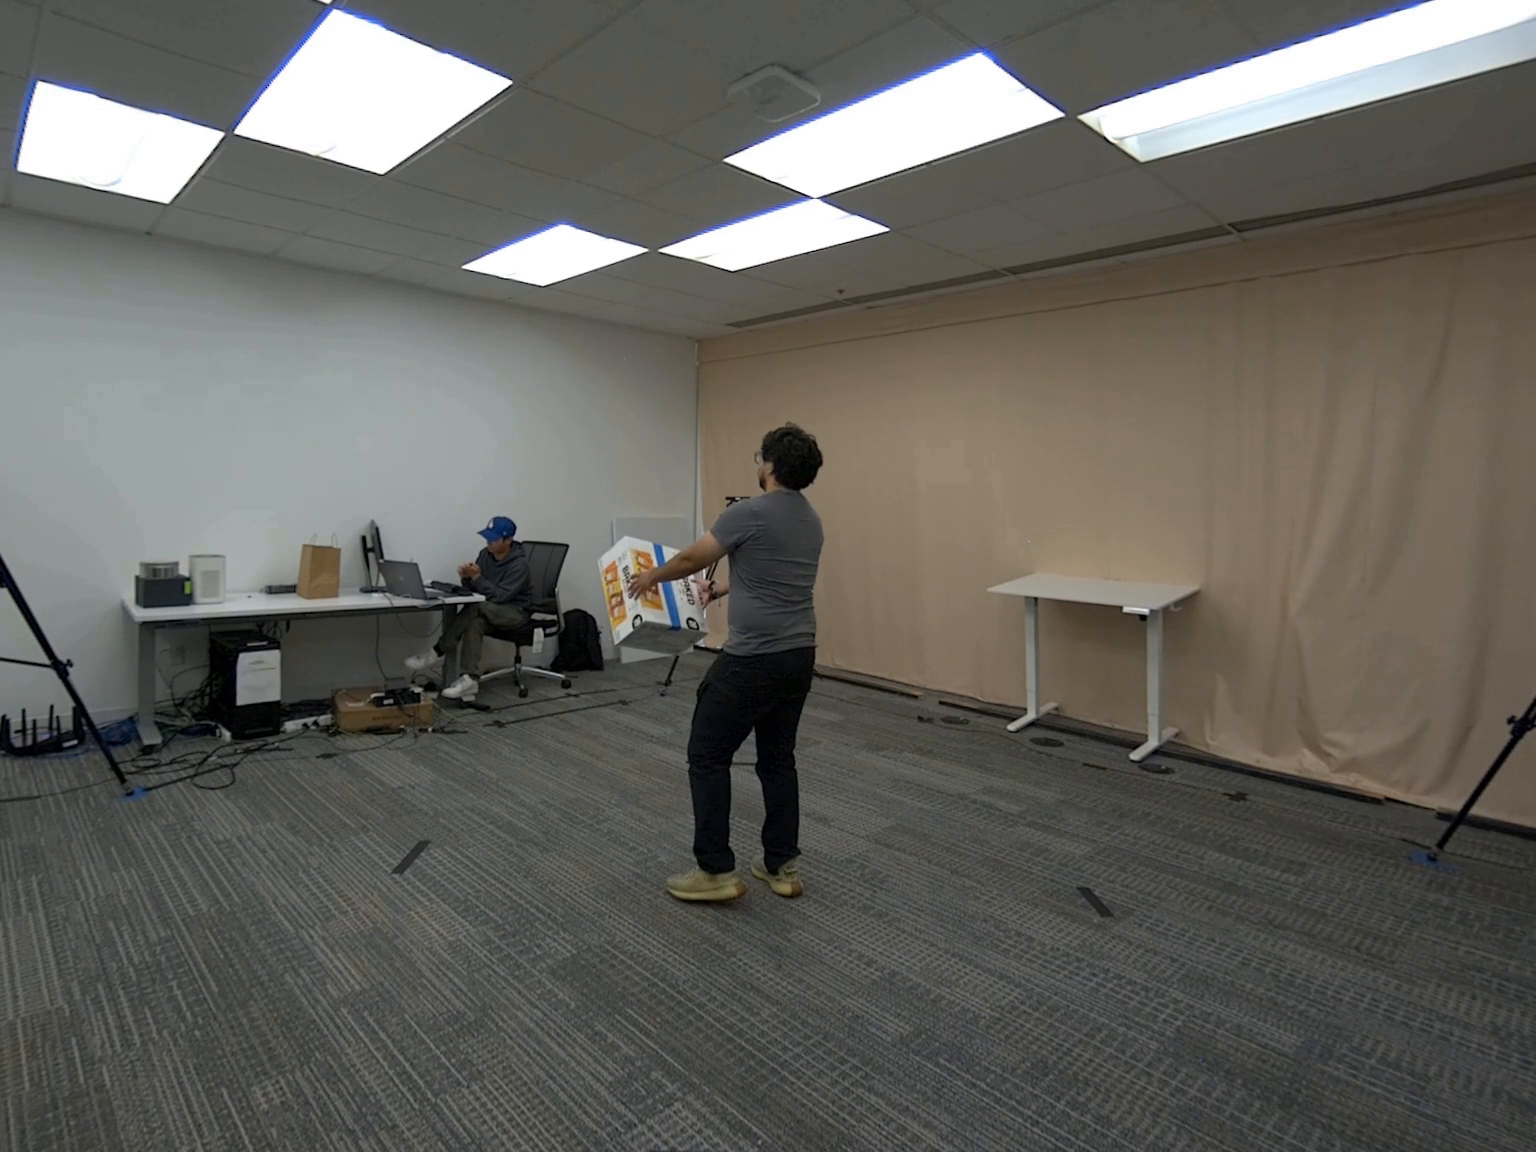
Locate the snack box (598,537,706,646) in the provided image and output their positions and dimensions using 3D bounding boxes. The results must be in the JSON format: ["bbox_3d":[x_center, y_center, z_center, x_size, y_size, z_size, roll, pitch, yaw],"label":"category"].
[{"bbox_3d":[-0.489,0.091,3.488,0.330,0.415,0.206,15,-43,-43],"label":"snack box"}]
